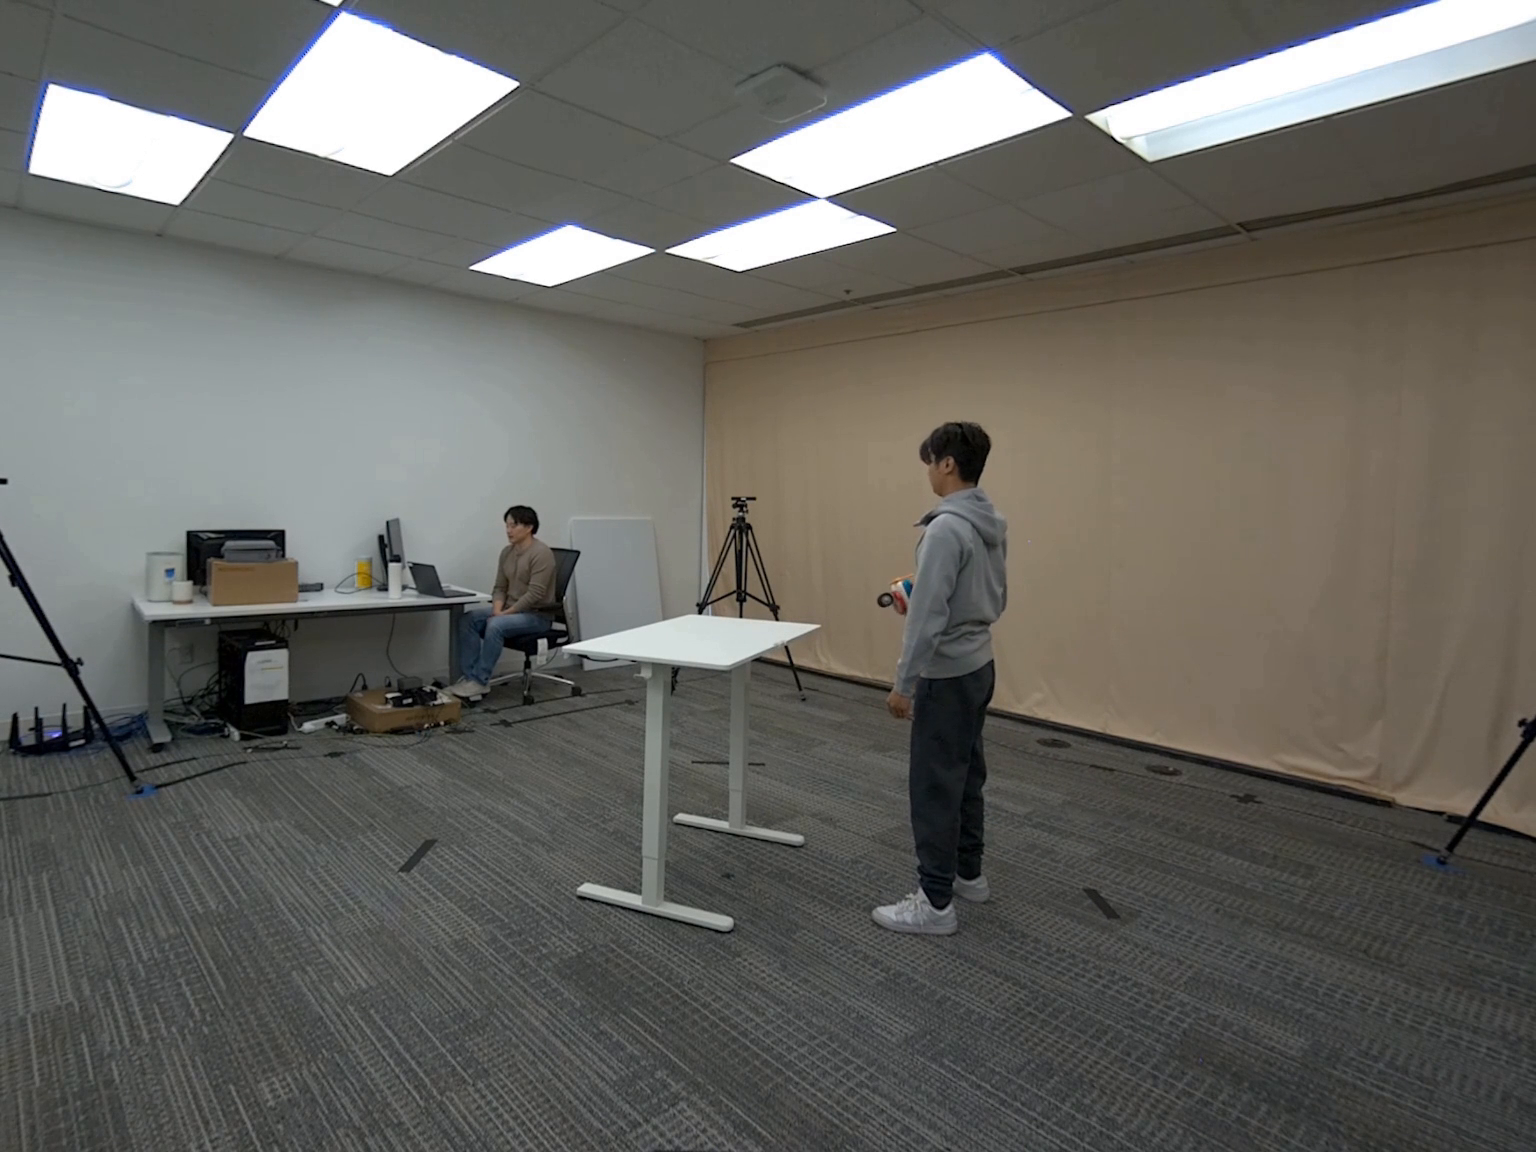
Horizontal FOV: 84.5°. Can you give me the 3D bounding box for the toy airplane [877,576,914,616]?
[{"bbox_3d":[0.540,0.136,3.317,0.156,0.254,0.256,-35,19,2],"label":"toy airplane"}]
